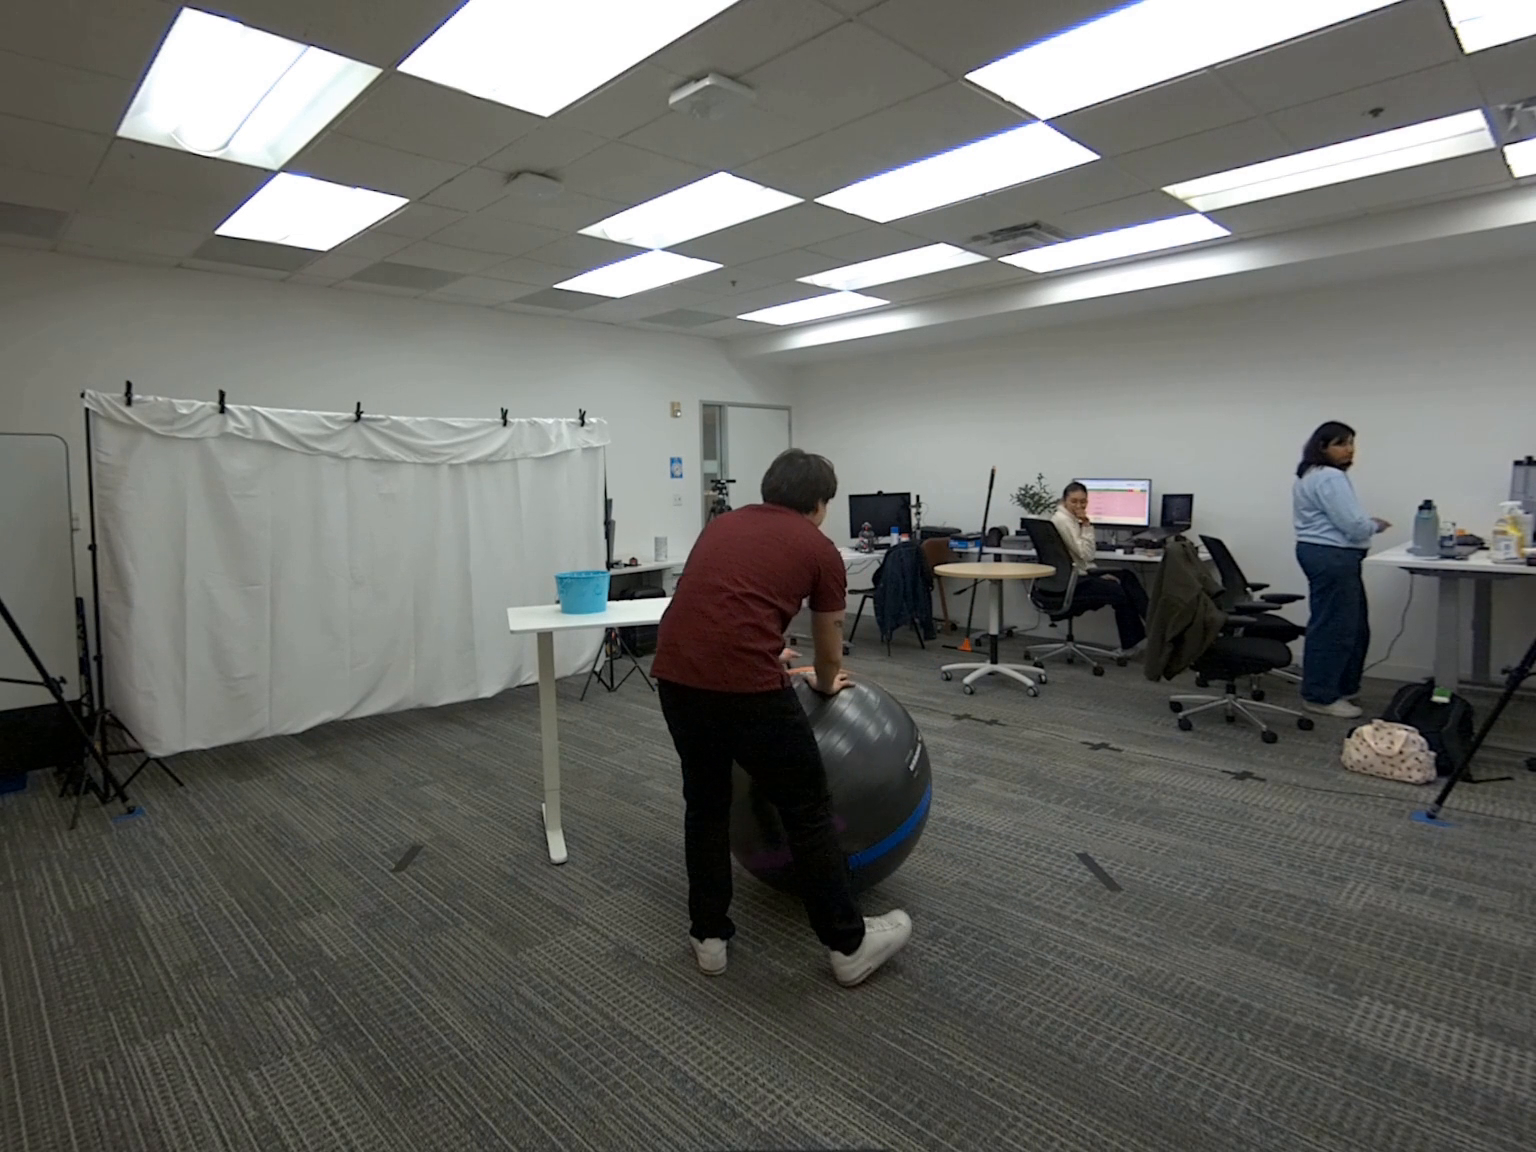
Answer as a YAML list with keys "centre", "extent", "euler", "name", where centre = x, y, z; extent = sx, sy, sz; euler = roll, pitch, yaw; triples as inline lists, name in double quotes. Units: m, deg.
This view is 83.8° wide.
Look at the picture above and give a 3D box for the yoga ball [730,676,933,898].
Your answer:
- centre: [0.178, 0.699, 2.908]
  extent: [0.757, 0.755, 0.762]
  euler: [-1, 5, -2]
  name: "yoga ball"
